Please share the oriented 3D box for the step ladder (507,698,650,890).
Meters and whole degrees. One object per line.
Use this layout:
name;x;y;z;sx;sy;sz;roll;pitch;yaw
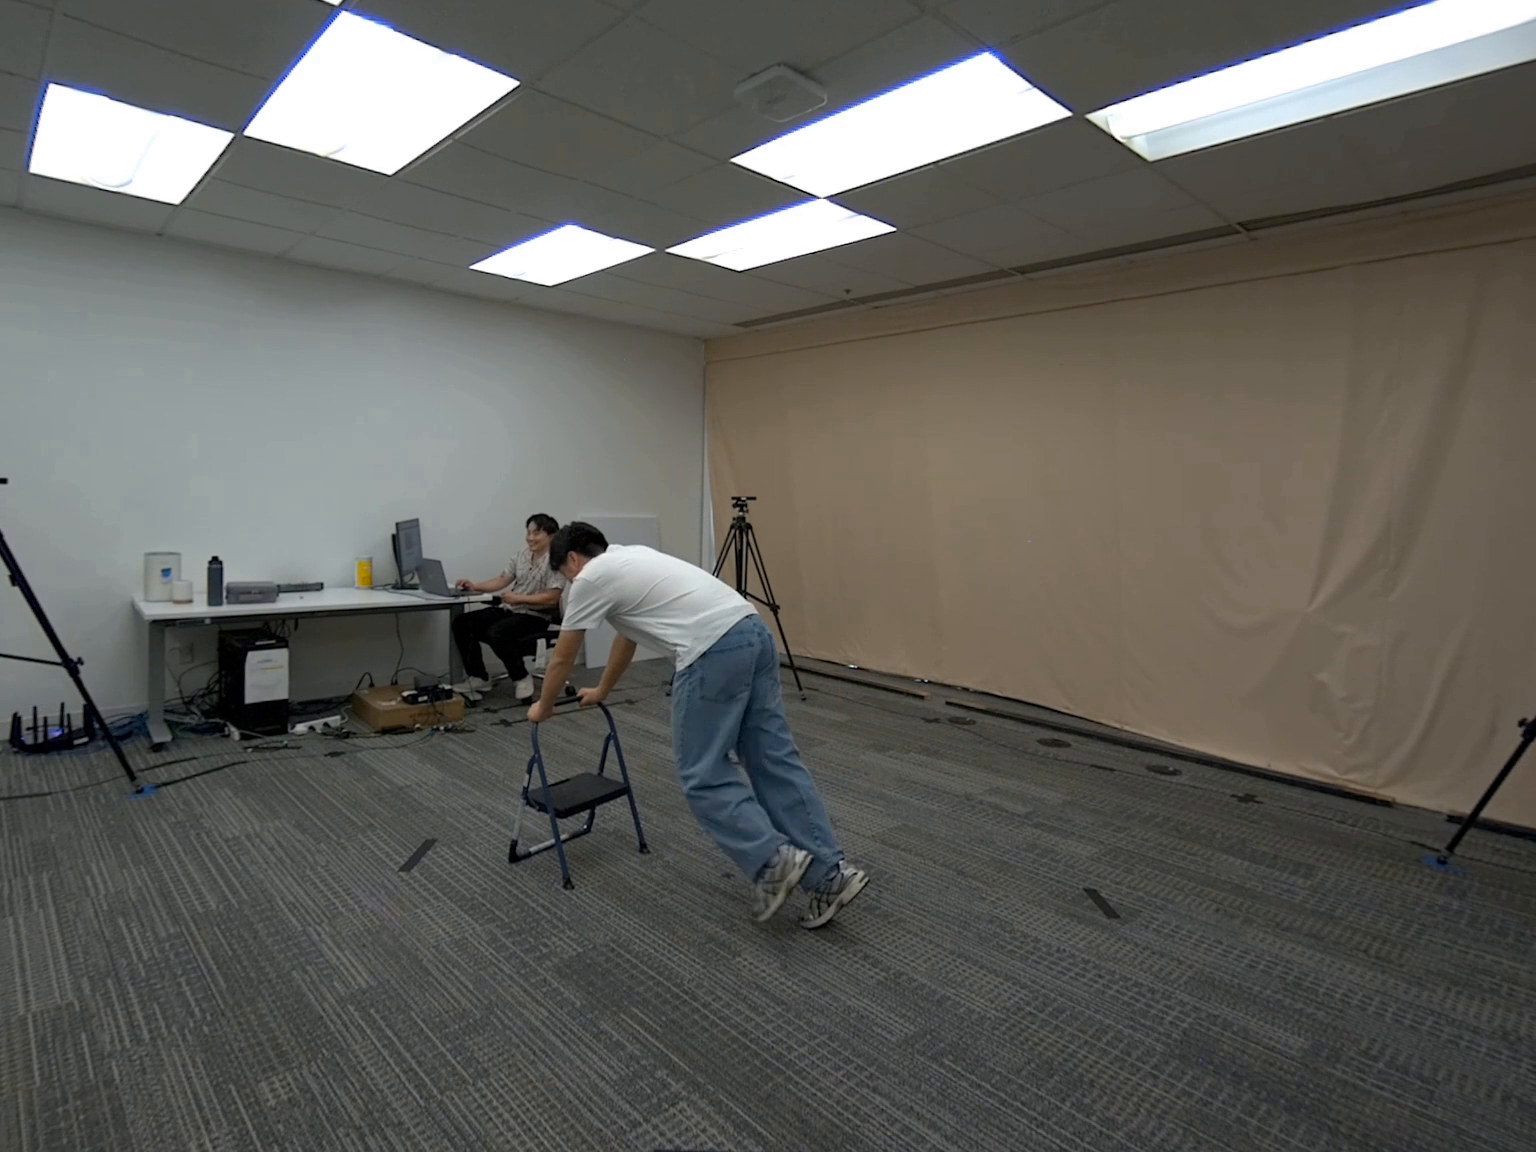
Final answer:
step ladder;-0.727;0.781;3.224;0.357;0.605;0.421;3;4;35
